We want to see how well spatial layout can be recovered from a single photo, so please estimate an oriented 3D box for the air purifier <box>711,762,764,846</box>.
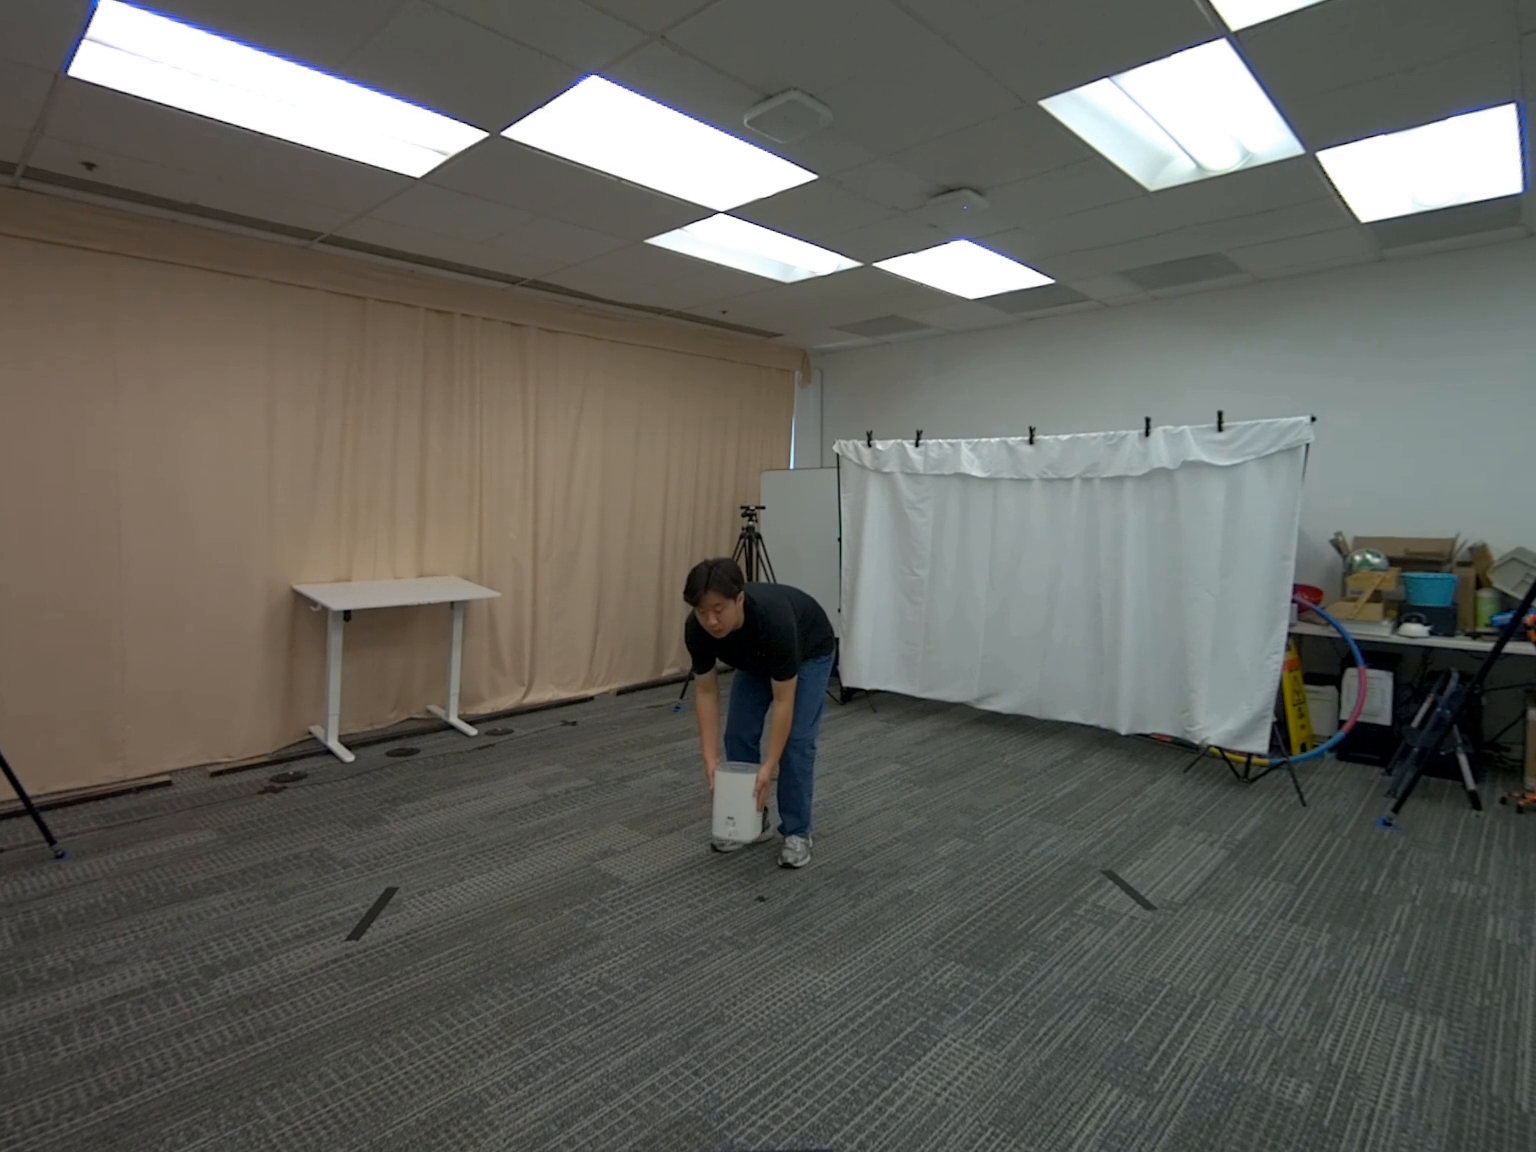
[{"bbox_3d":[-0.109,0.841,3.168,0.174,0.265,0.168,1,-1,17],"label":"air purifier"}]
